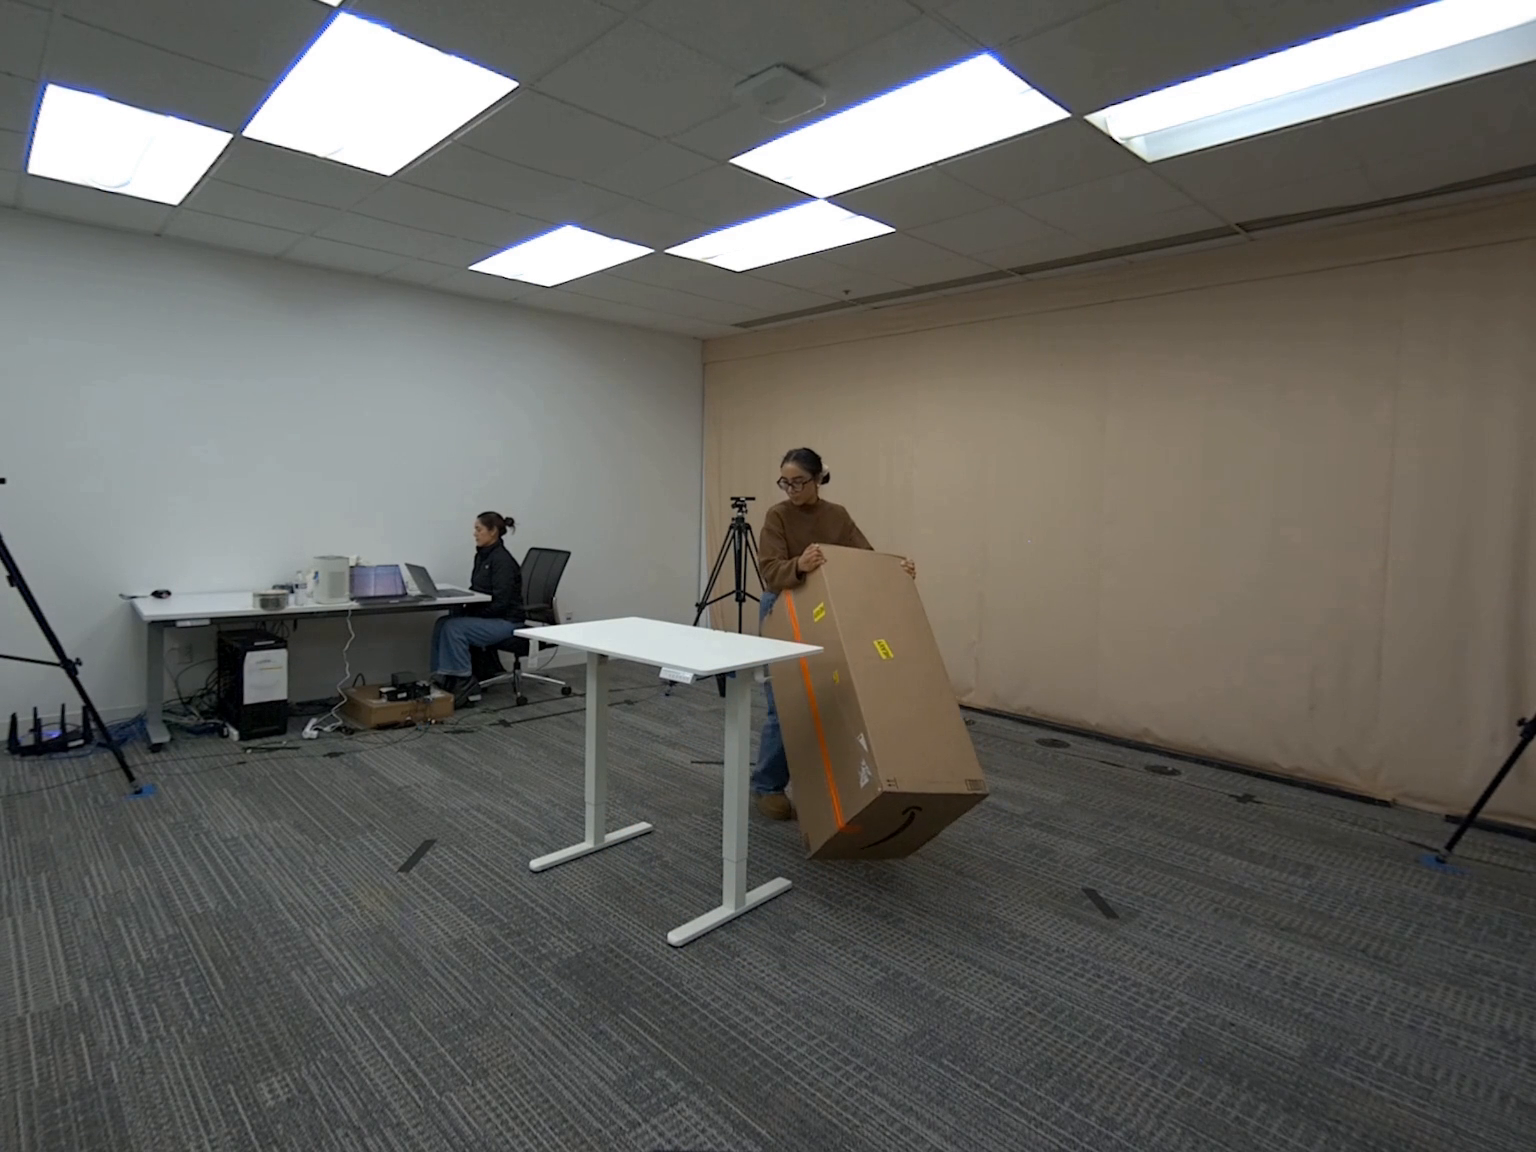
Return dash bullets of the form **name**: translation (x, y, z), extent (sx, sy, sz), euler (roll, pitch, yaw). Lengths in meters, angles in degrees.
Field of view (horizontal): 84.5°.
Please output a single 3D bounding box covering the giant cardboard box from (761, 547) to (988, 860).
- **giant cardboard box**: translation (0.352, 0.482, 3.222), extent (0.418, 1.052, 0.574), euler (7, -41, -24)
